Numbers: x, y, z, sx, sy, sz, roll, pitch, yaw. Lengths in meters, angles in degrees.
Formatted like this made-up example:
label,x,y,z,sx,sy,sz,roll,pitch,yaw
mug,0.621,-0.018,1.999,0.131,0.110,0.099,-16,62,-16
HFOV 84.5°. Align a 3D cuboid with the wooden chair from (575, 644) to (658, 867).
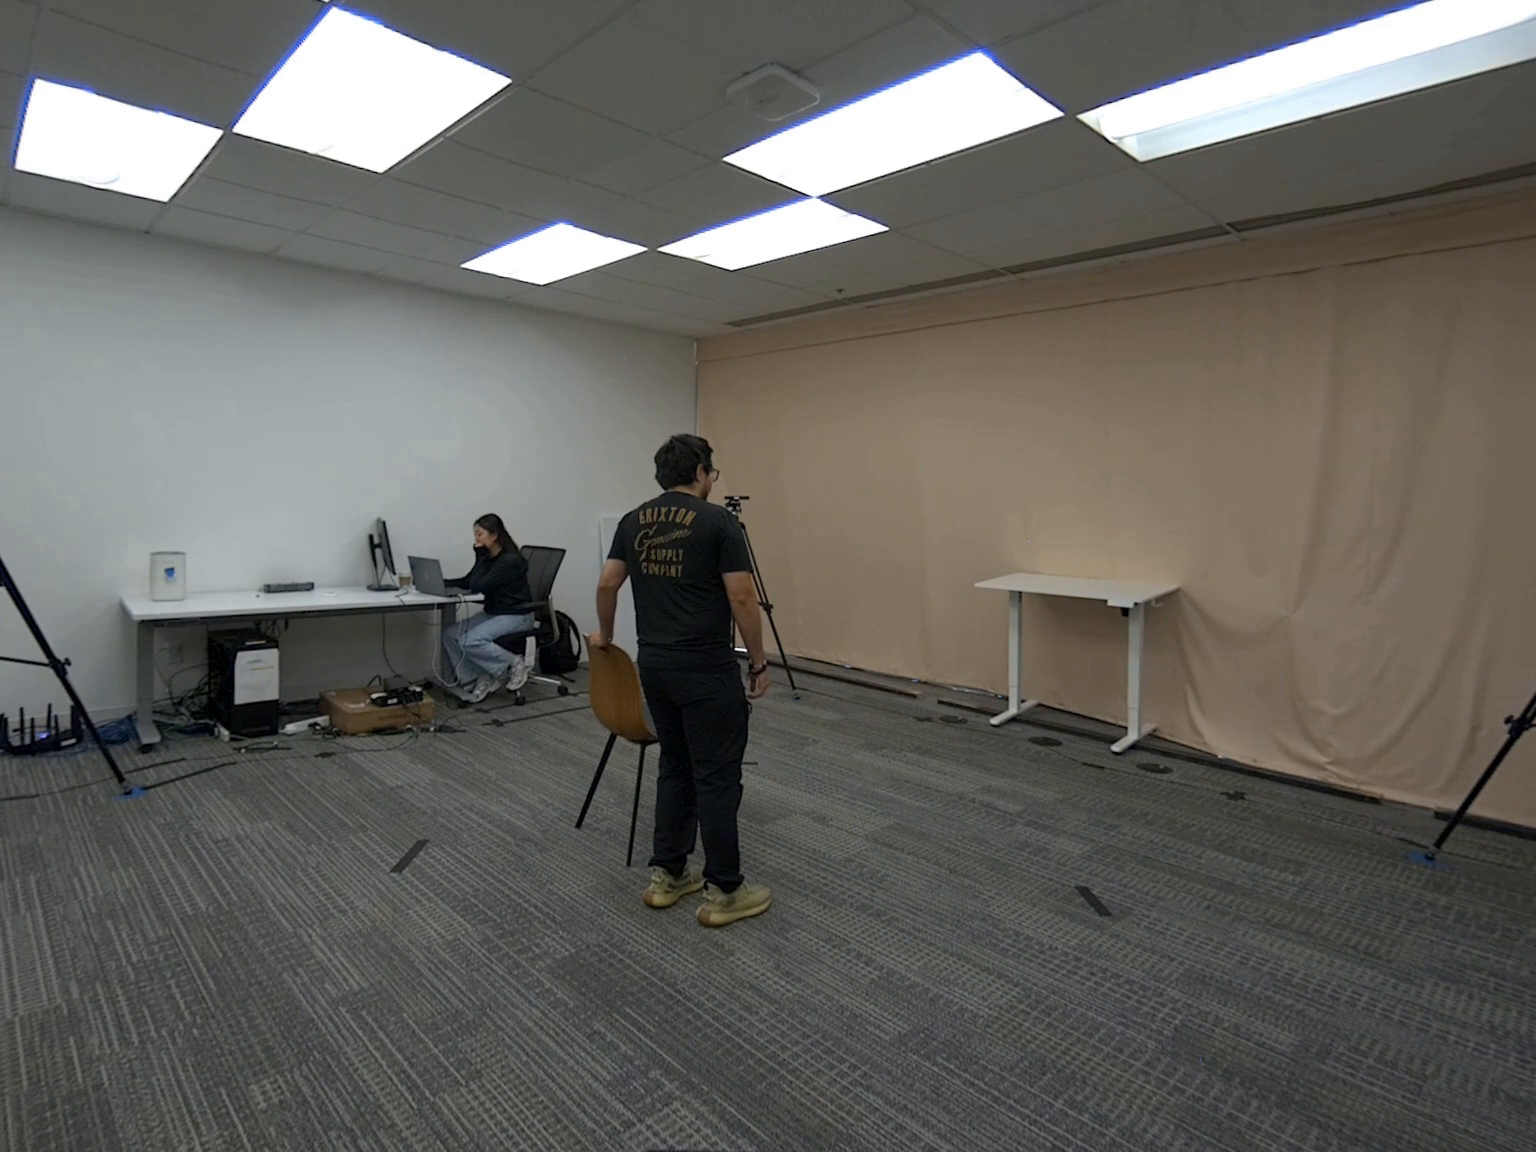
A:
label,x,y,z,sx,sy,sz,roll,pitch,yaw
wooden chair,-0.476,0.640,3.441,0.512,0.873,0.490,-7,8,-37
